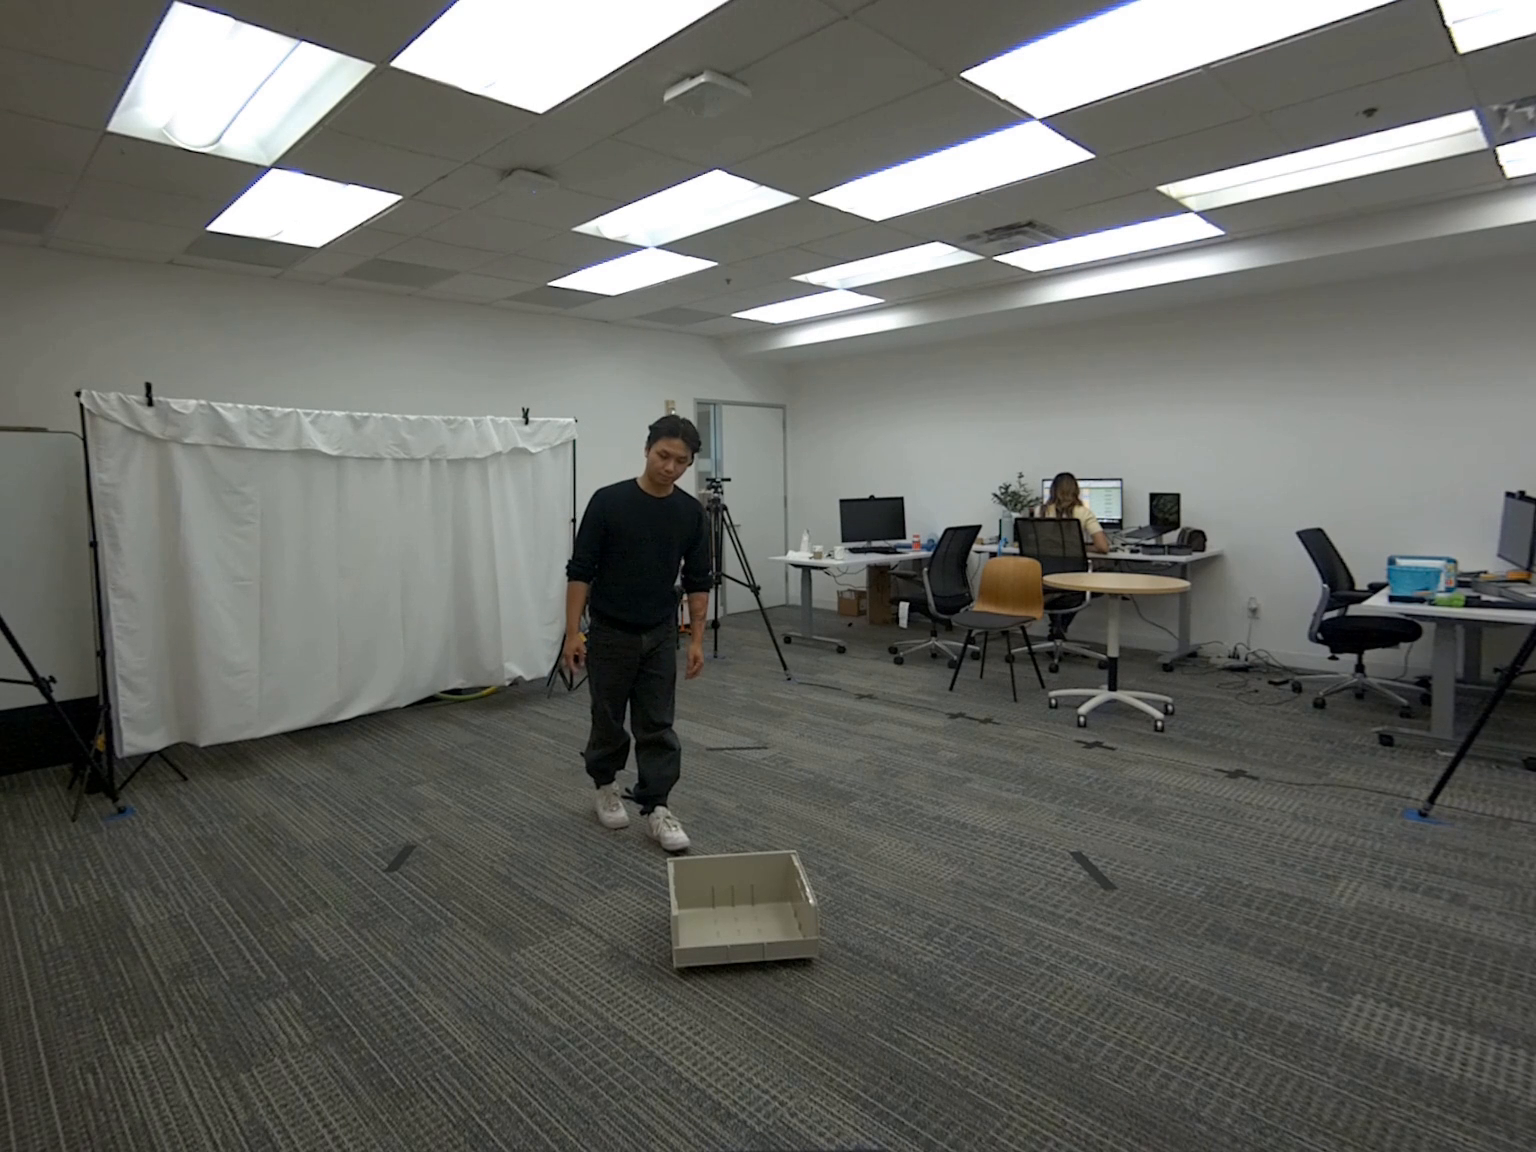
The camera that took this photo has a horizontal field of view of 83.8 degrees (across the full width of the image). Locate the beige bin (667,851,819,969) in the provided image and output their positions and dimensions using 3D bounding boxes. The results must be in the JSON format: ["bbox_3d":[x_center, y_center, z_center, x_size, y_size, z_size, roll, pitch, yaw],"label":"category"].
[{"bbox_3d":[-0.082,1.027,2.576,0.420,0.188,0.381,-2,6,-7],"label":"beige bin"}]
